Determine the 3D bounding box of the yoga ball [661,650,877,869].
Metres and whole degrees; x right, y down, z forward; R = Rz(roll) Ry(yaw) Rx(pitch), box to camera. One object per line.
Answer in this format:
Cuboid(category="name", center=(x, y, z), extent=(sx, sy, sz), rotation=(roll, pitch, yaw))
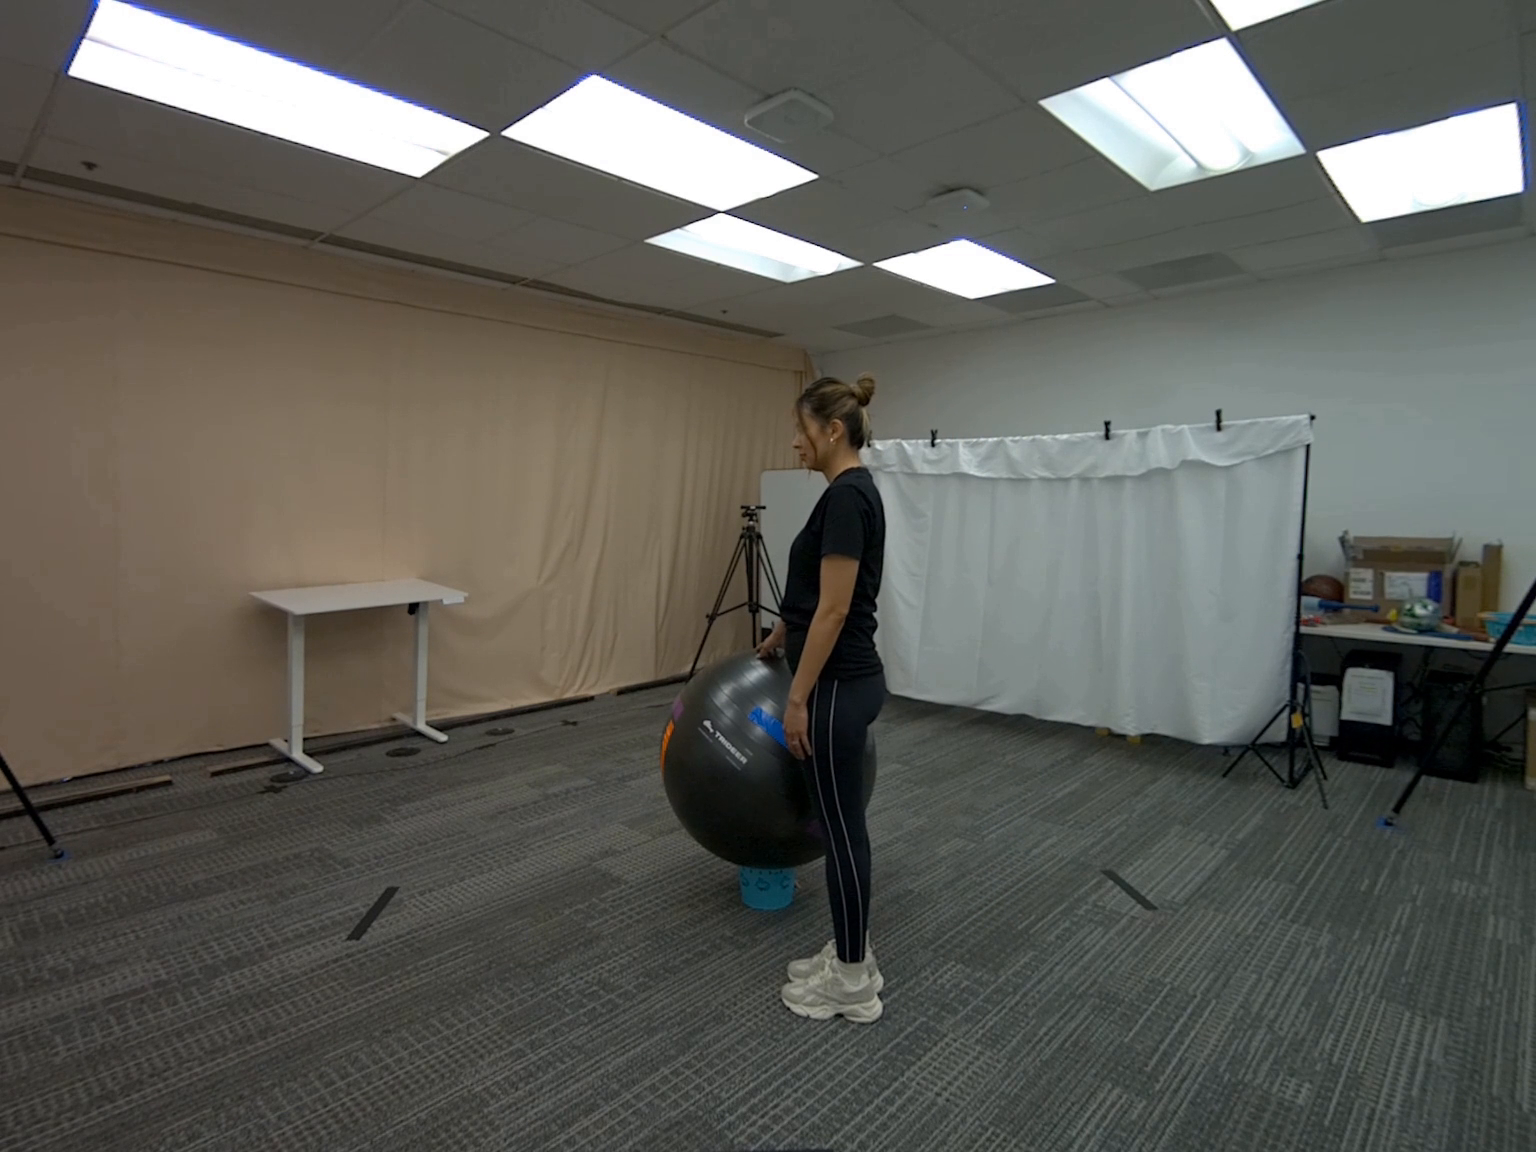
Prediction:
Cuboid(category="yoga ball", center=(0.005, 0.636, 2.967), extent=(0.757, 0.756, 0.760), rotation=(0, 4, -2))
